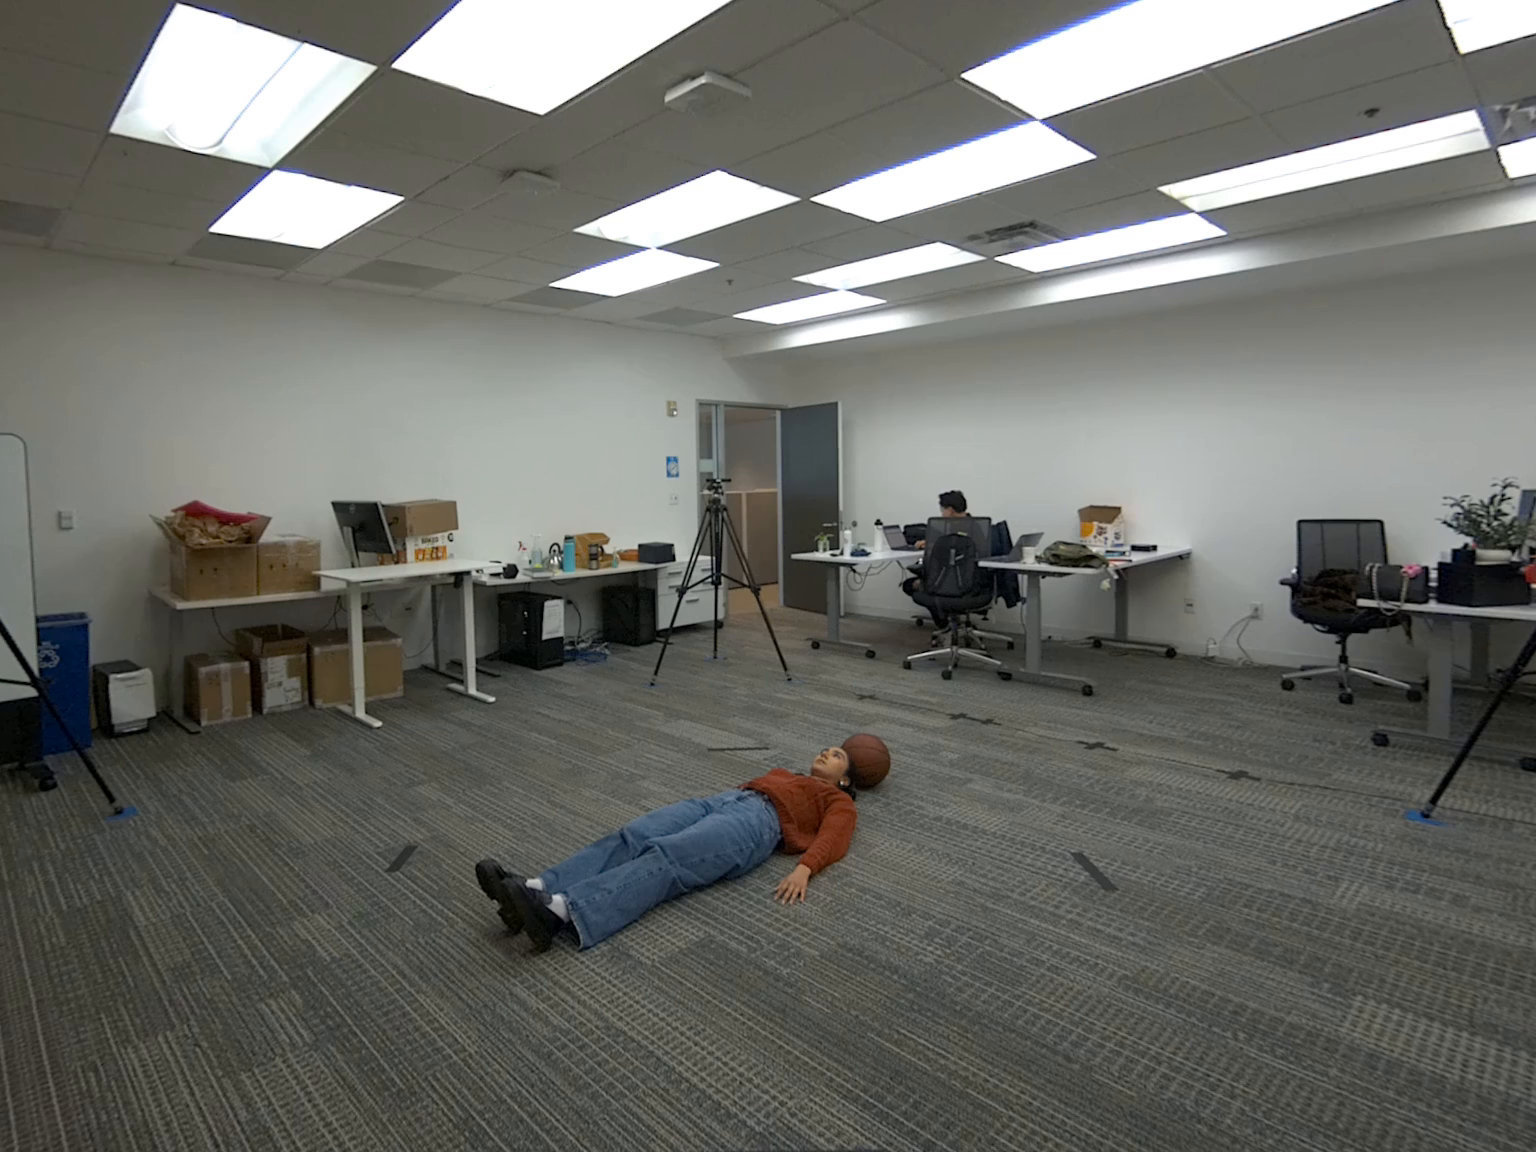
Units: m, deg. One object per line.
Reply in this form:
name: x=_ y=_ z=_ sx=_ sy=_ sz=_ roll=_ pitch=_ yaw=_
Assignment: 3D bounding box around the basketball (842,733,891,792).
basketball: x=0.433 y=0.831 z=3.859 sx=0.236 sy=0.236 sz=0.236 roll=0 pitch=1 yaw=-2
